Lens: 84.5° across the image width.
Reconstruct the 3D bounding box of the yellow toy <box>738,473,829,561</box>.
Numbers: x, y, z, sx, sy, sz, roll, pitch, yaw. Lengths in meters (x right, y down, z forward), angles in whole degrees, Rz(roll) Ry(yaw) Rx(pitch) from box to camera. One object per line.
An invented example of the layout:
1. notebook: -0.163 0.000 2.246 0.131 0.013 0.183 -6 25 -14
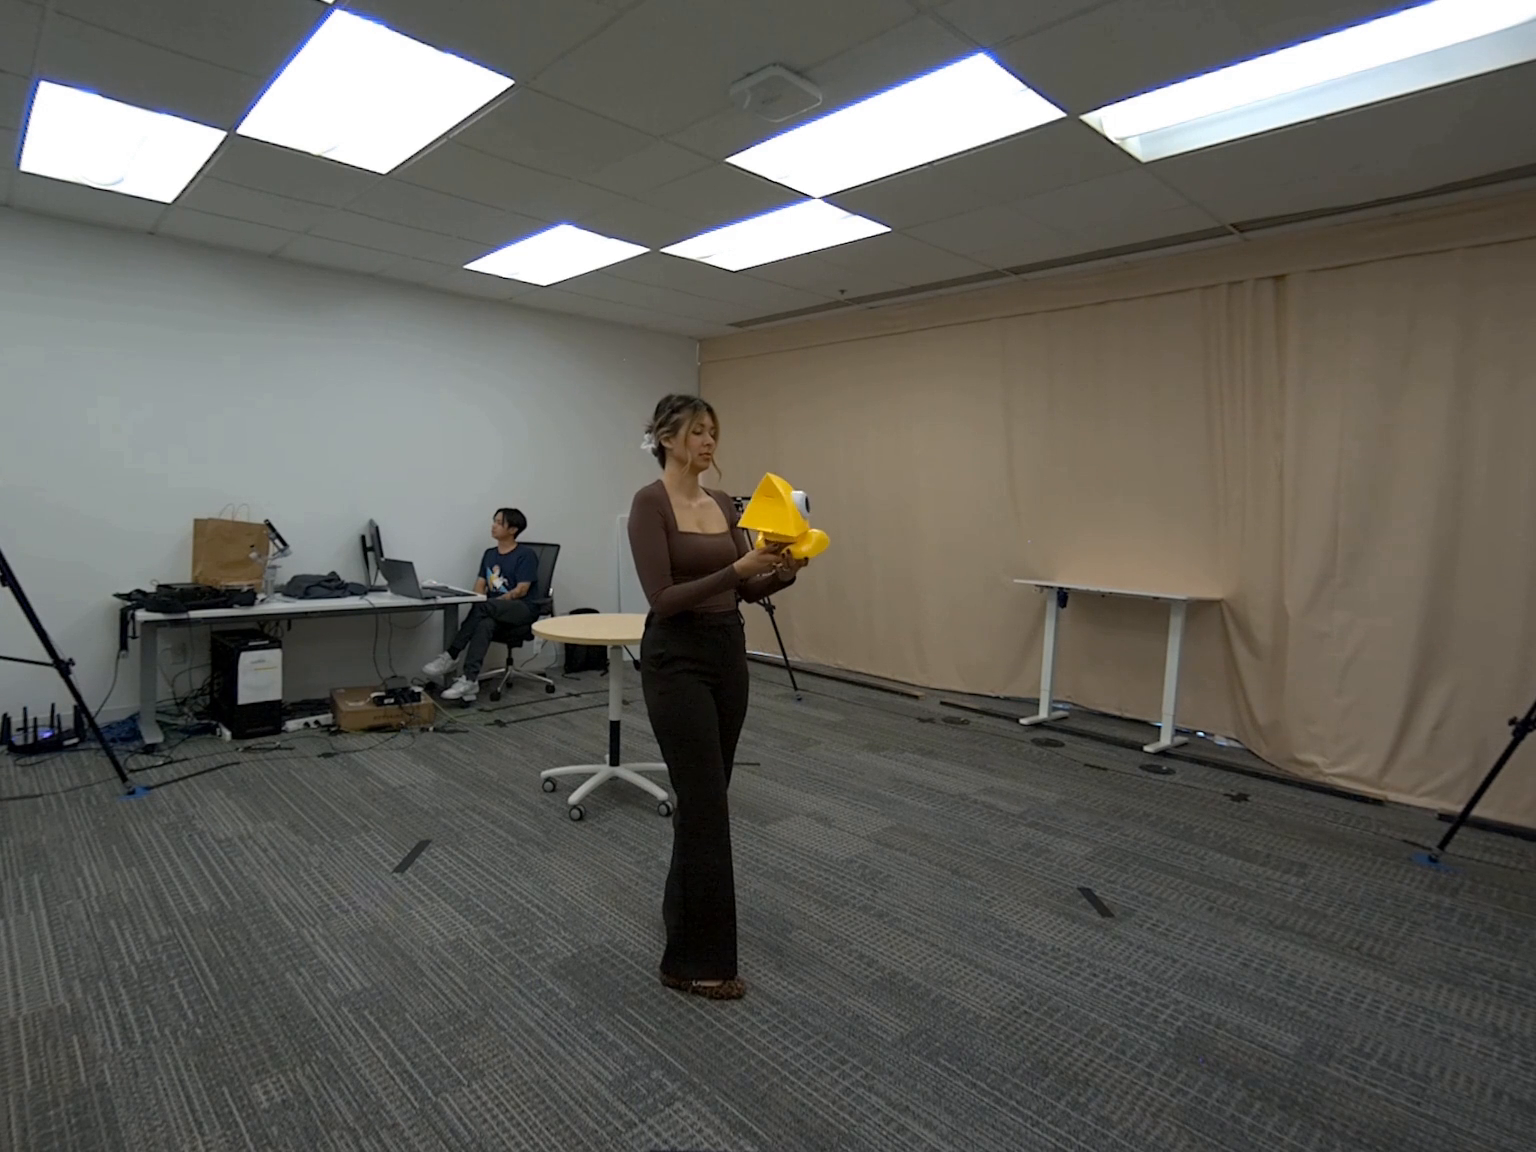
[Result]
1. yellow toy: 0.027 -0.183 2.265 0.210 0.227 0.191 11 27 40
